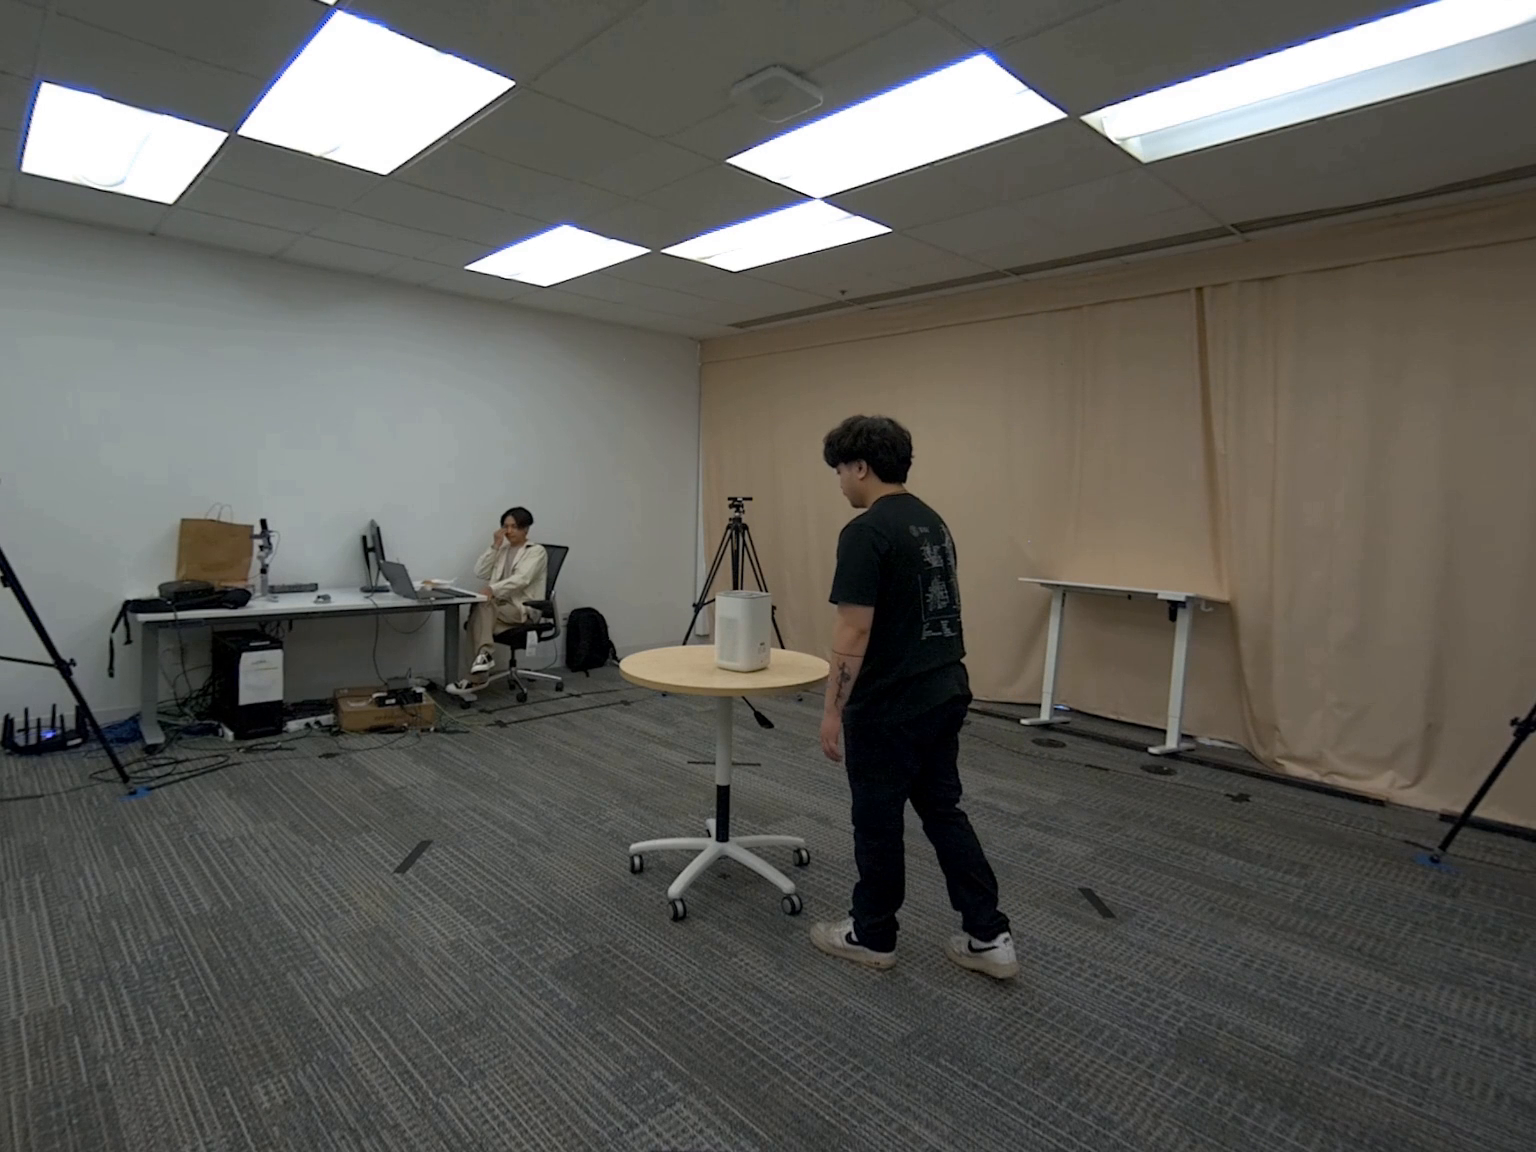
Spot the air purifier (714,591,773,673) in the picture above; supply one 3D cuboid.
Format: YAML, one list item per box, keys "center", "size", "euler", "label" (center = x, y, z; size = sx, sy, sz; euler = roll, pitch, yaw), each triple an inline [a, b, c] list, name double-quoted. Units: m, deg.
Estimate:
- center: [-0.093, 0.192, 2.976]
  size: [0.176, 0.265, 0.167]
  euler: [4, 4, 35]
  label: "air purifier"
